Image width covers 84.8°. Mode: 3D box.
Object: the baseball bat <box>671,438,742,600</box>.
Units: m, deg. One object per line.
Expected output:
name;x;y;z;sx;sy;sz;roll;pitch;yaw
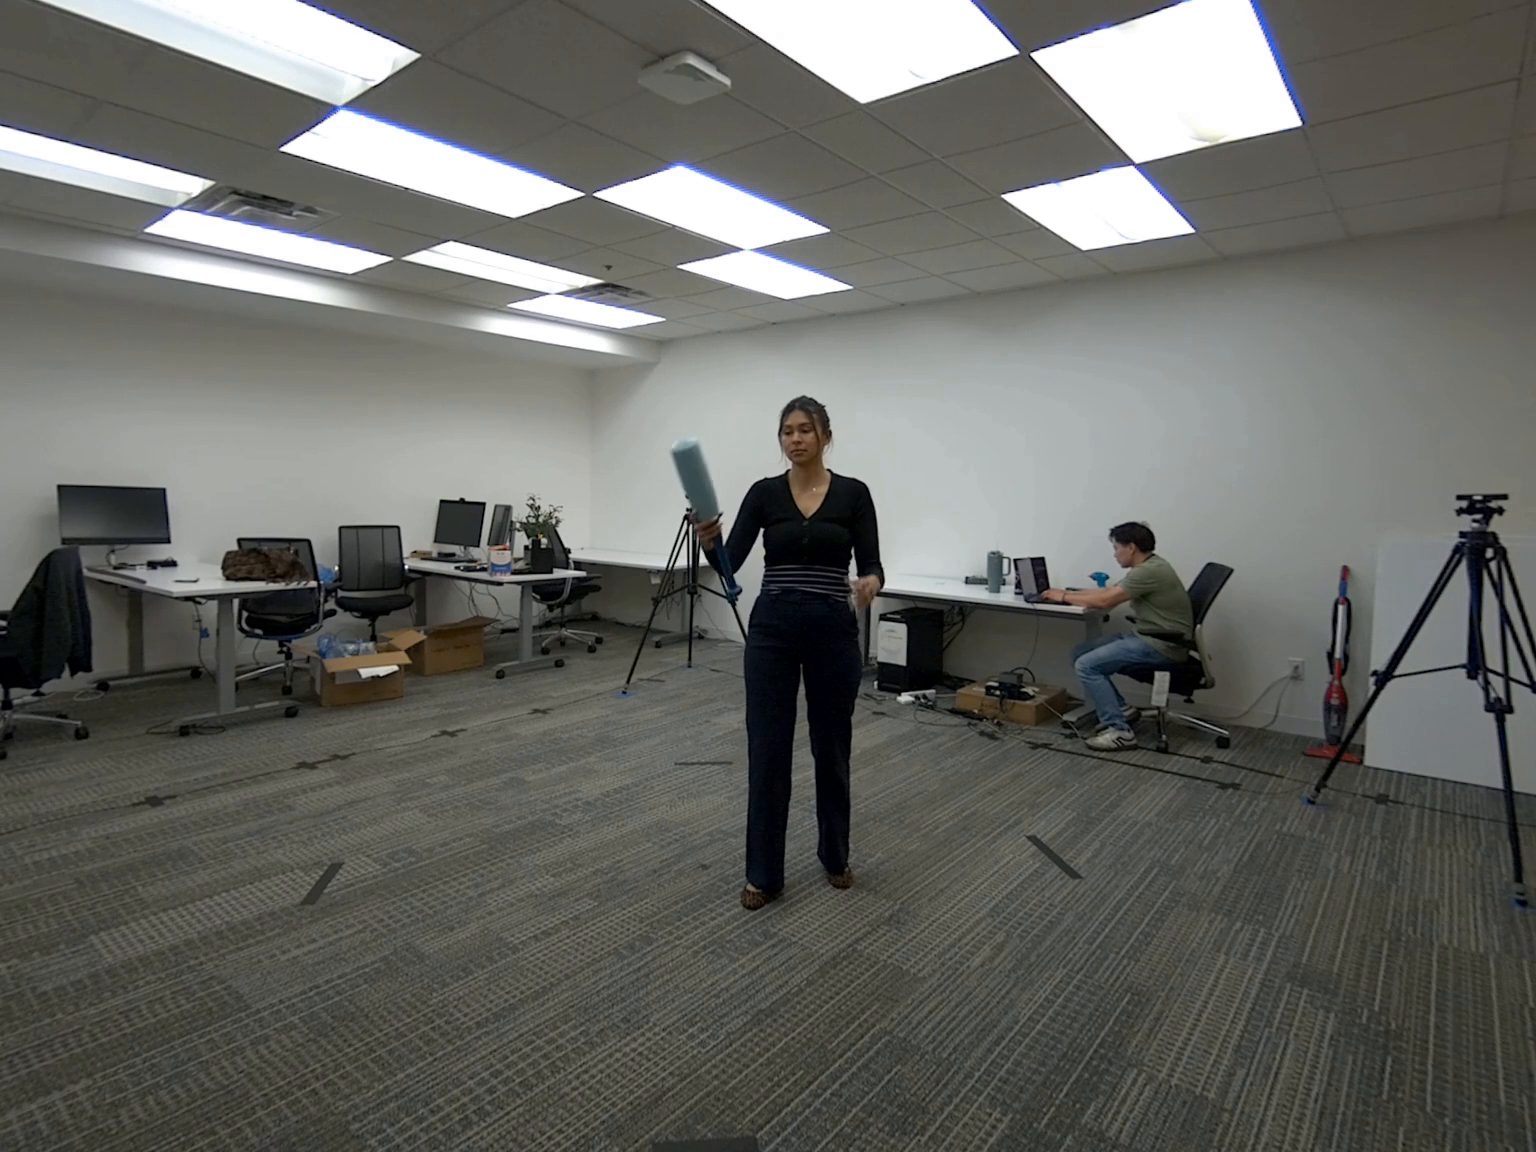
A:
baseball bat;-0.175;-0.153;2.602;0.089;0.527;0.091;-14;28;6
